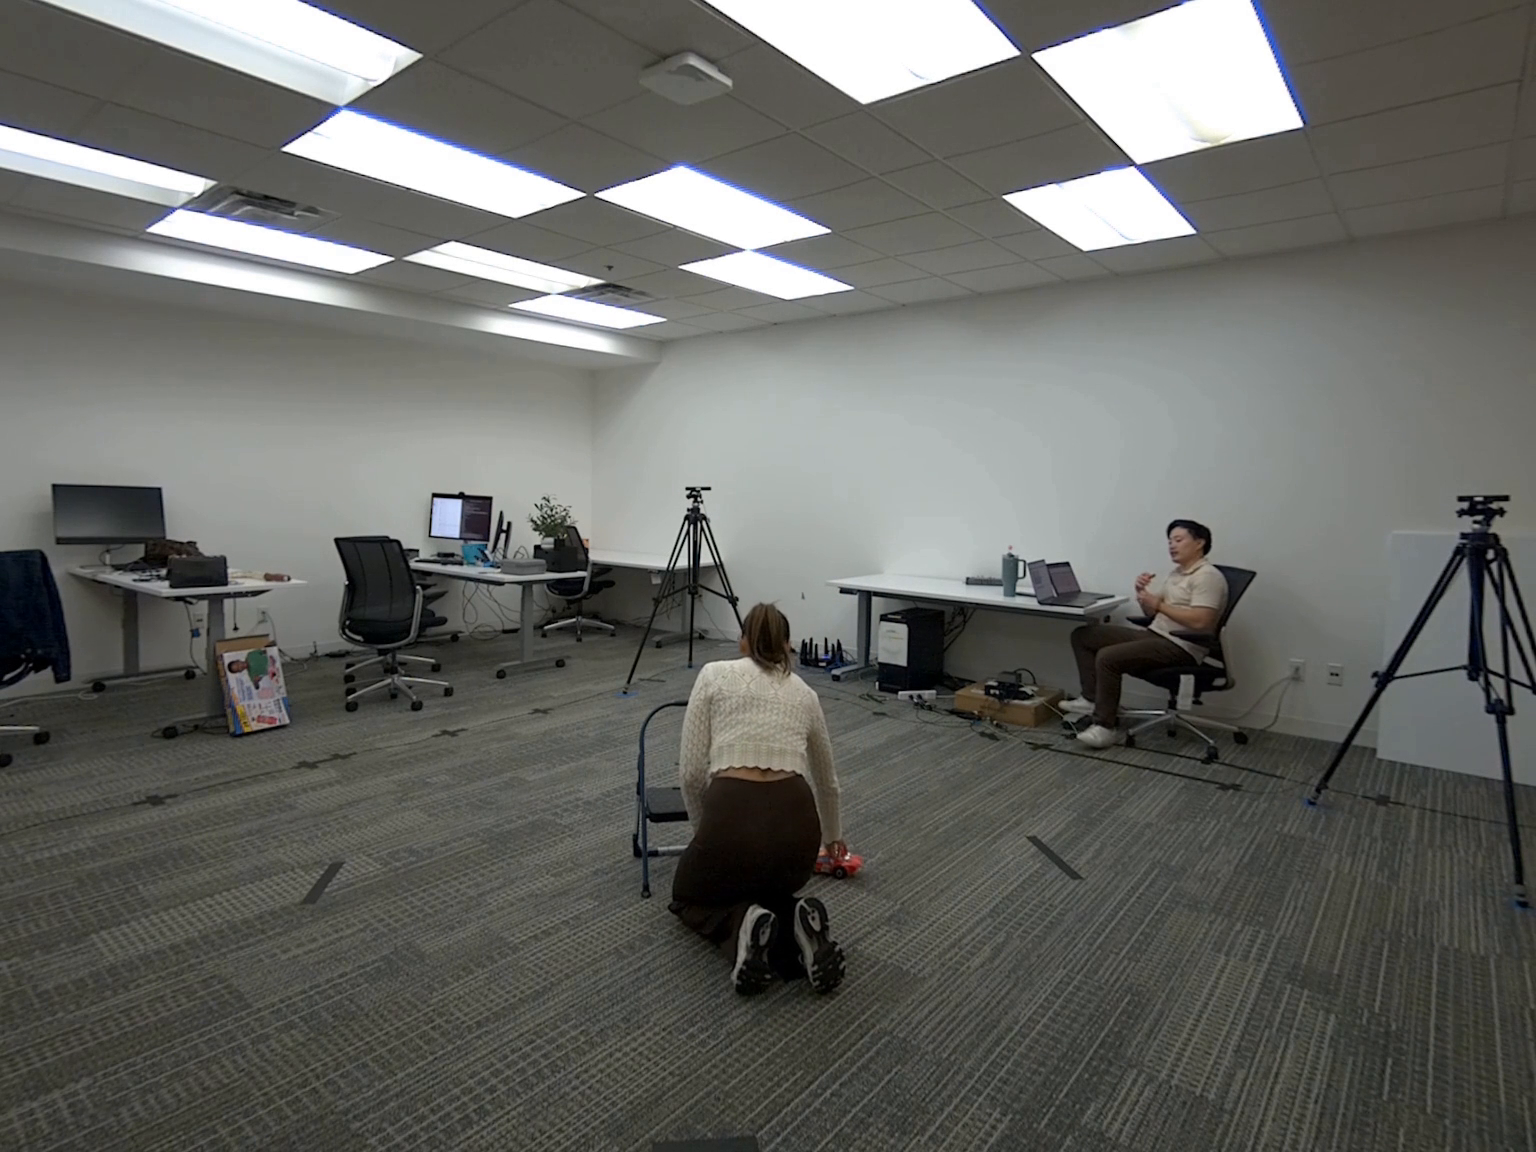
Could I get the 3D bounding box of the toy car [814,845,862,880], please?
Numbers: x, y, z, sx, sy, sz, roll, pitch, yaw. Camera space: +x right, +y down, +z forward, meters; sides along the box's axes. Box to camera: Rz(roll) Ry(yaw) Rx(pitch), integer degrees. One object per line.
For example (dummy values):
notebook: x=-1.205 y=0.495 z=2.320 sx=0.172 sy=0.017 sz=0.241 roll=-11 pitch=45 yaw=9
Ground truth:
toy car: x=0.211 y=1.044 z=3.093 sx=0.257 sy=0.083 sz=0.129 roll=-8 pitch=2 yaw=12
